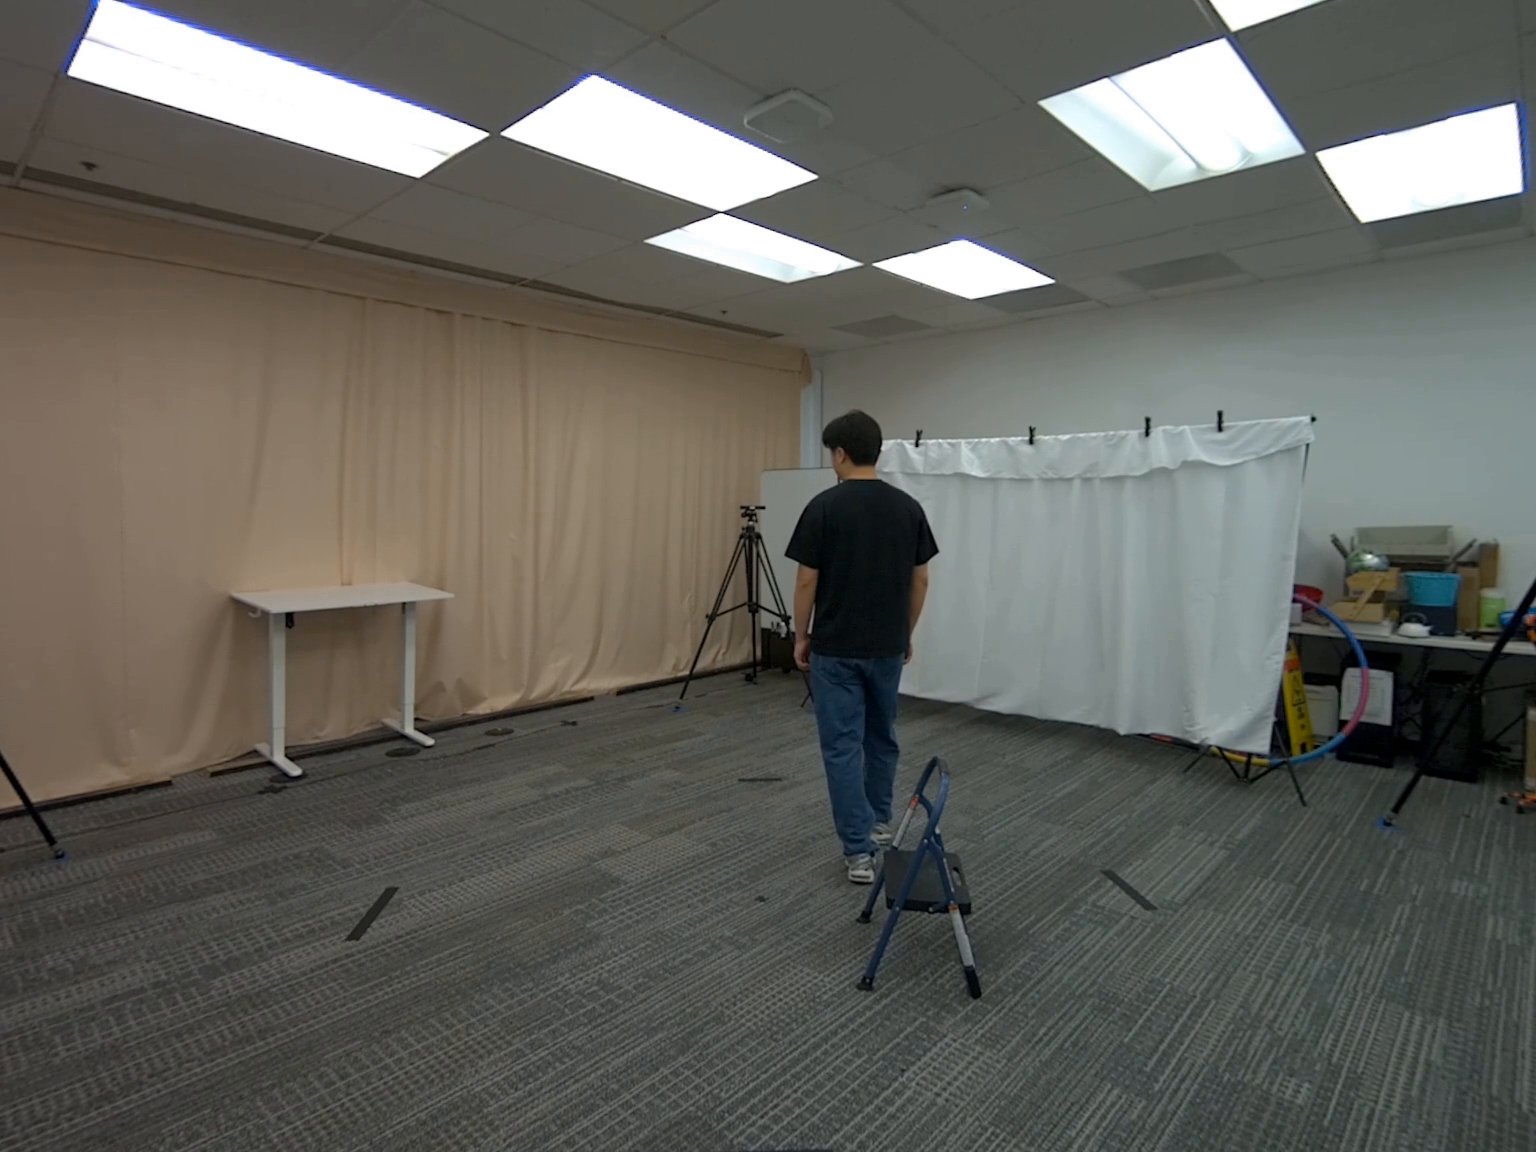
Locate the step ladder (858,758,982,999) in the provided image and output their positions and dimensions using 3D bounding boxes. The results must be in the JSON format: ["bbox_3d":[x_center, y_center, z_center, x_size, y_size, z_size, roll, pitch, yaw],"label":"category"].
[{"bbox_3d":[0.453,0.872,2.586,0.352,0.604,0.428,0,4,6],"label":"step ladder"}]
